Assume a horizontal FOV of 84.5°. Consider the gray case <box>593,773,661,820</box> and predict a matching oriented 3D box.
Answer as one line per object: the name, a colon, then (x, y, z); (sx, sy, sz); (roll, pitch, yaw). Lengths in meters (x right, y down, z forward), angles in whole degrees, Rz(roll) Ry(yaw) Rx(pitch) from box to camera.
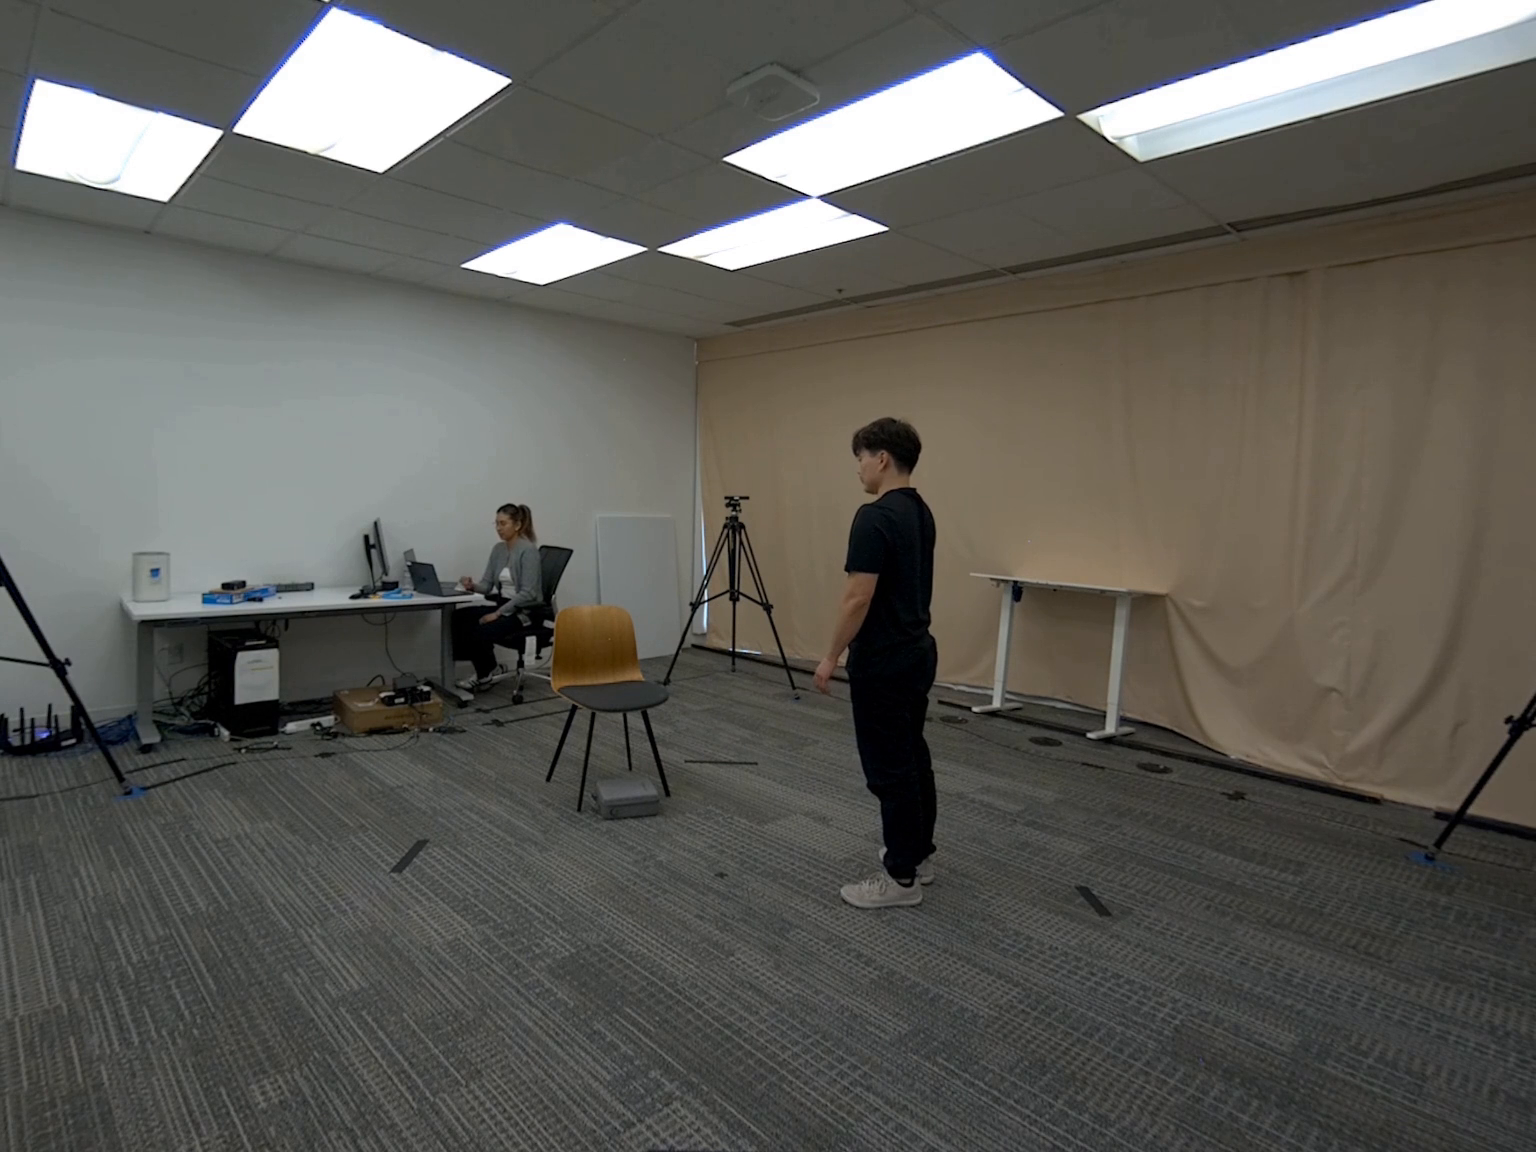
gray case: (-0.640, 0.981, 3.740); (0.257, 0.104, 0.261); (-2, 7, -18)
